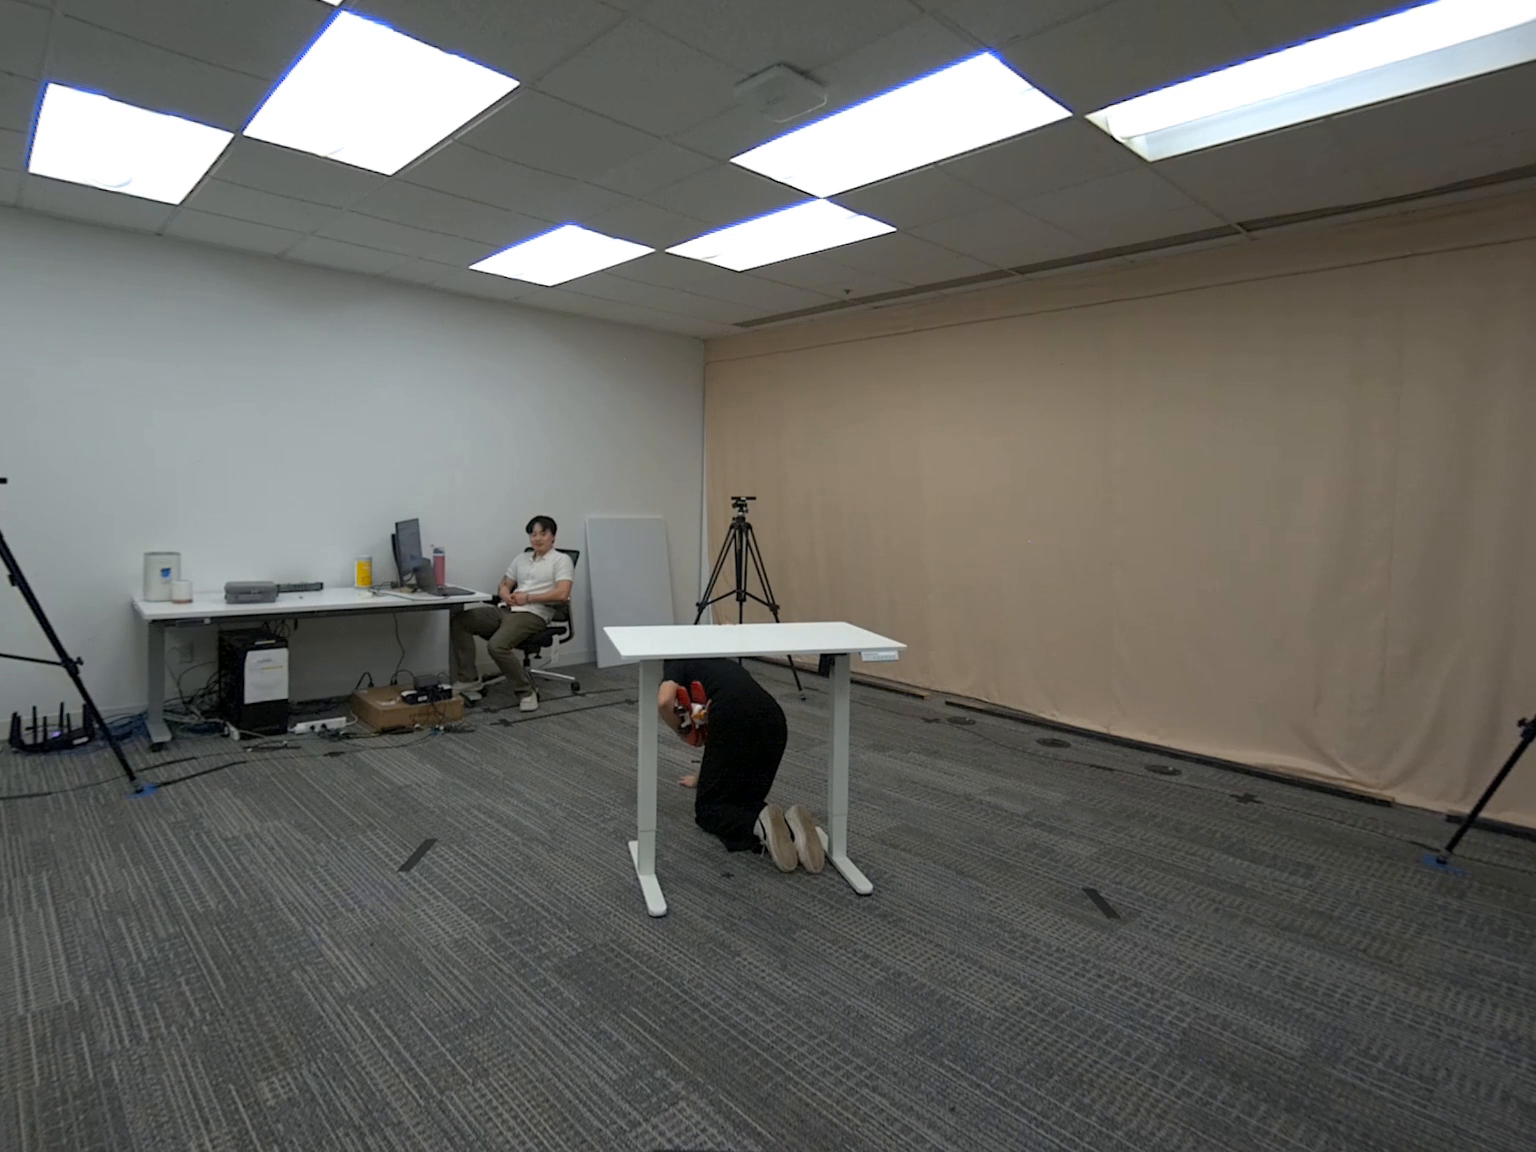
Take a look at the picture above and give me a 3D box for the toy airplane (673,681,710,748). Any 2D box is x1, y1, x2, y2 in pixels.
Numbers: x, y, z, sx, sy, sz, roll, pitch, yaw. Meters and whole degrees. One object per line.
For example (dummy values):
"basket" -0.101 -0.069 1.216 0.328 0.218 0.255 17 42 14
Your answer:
"toy airplane" -0.365 0.556 3.593 0.154 0.247 0.267 -11 31 -26
